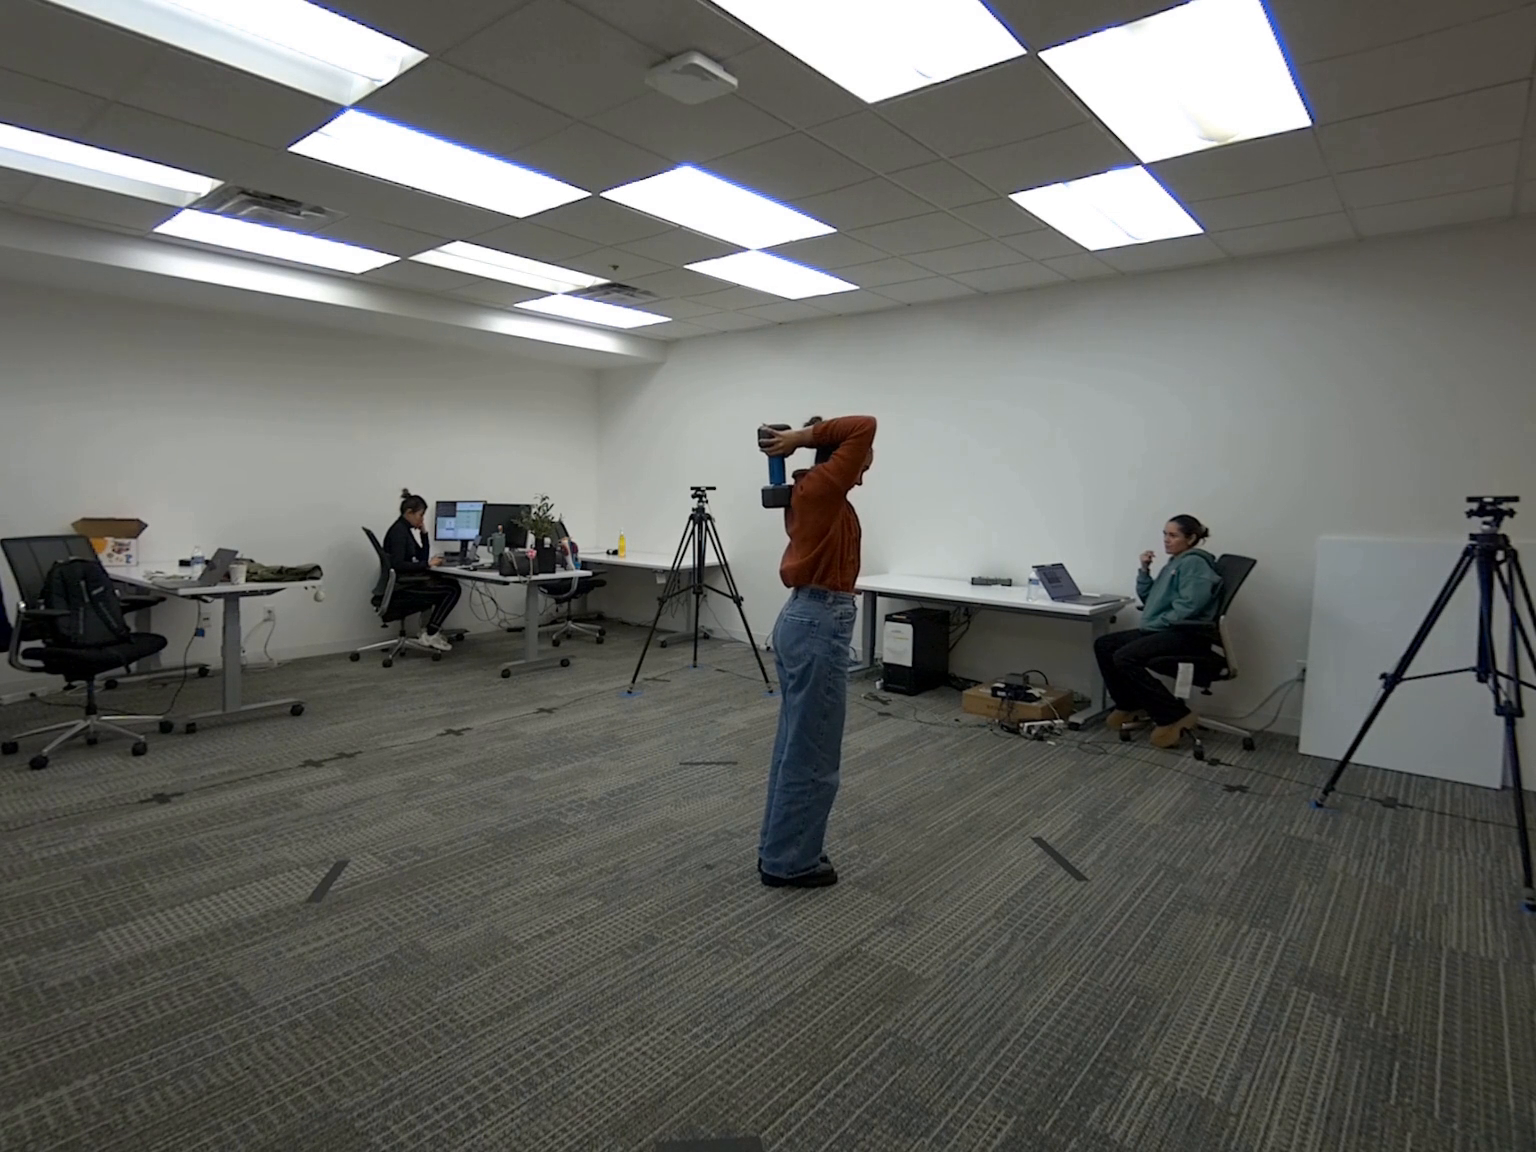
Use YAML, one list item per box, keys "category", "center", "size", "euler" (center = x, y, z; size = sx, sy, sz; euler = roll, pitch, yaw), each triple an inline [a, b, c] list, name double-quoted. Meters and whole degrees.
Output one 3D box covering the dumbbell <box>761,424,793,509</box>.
- category: "dumbbell"
  center: [0.022, -0.390, 3.008]
  size: [0.122, 0.292, 0.110]
  euler: [-3, 4, -9]
